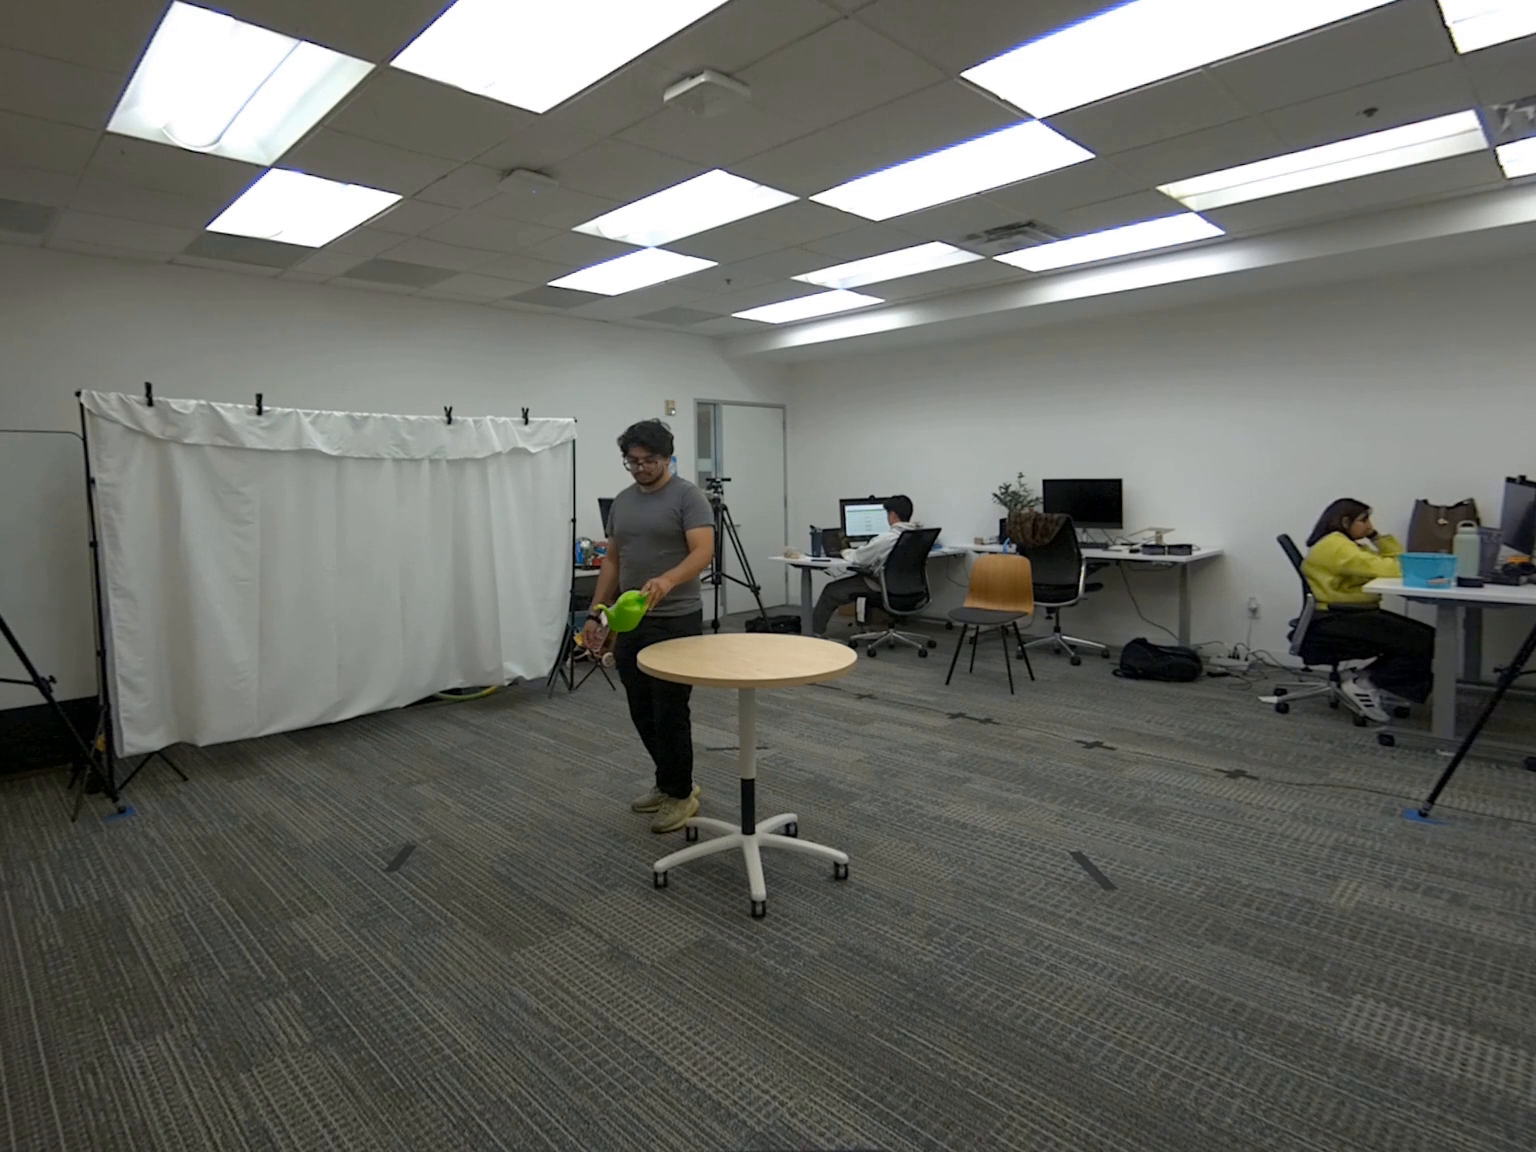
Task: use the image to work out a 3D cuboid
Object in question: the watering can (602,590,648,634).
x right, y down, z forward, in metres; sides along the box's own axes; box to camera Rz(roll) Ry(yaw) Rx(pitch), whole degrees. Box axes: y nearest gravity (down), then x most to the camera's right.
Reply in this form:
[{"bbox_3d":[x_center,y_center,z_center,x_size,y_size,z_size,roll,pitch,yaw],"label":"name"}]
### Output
[{"bbox_3d":[-0.531,0.125,3.075,0.271,0.101,0.175,-5,-37,-34],"label":"watering can"}]
